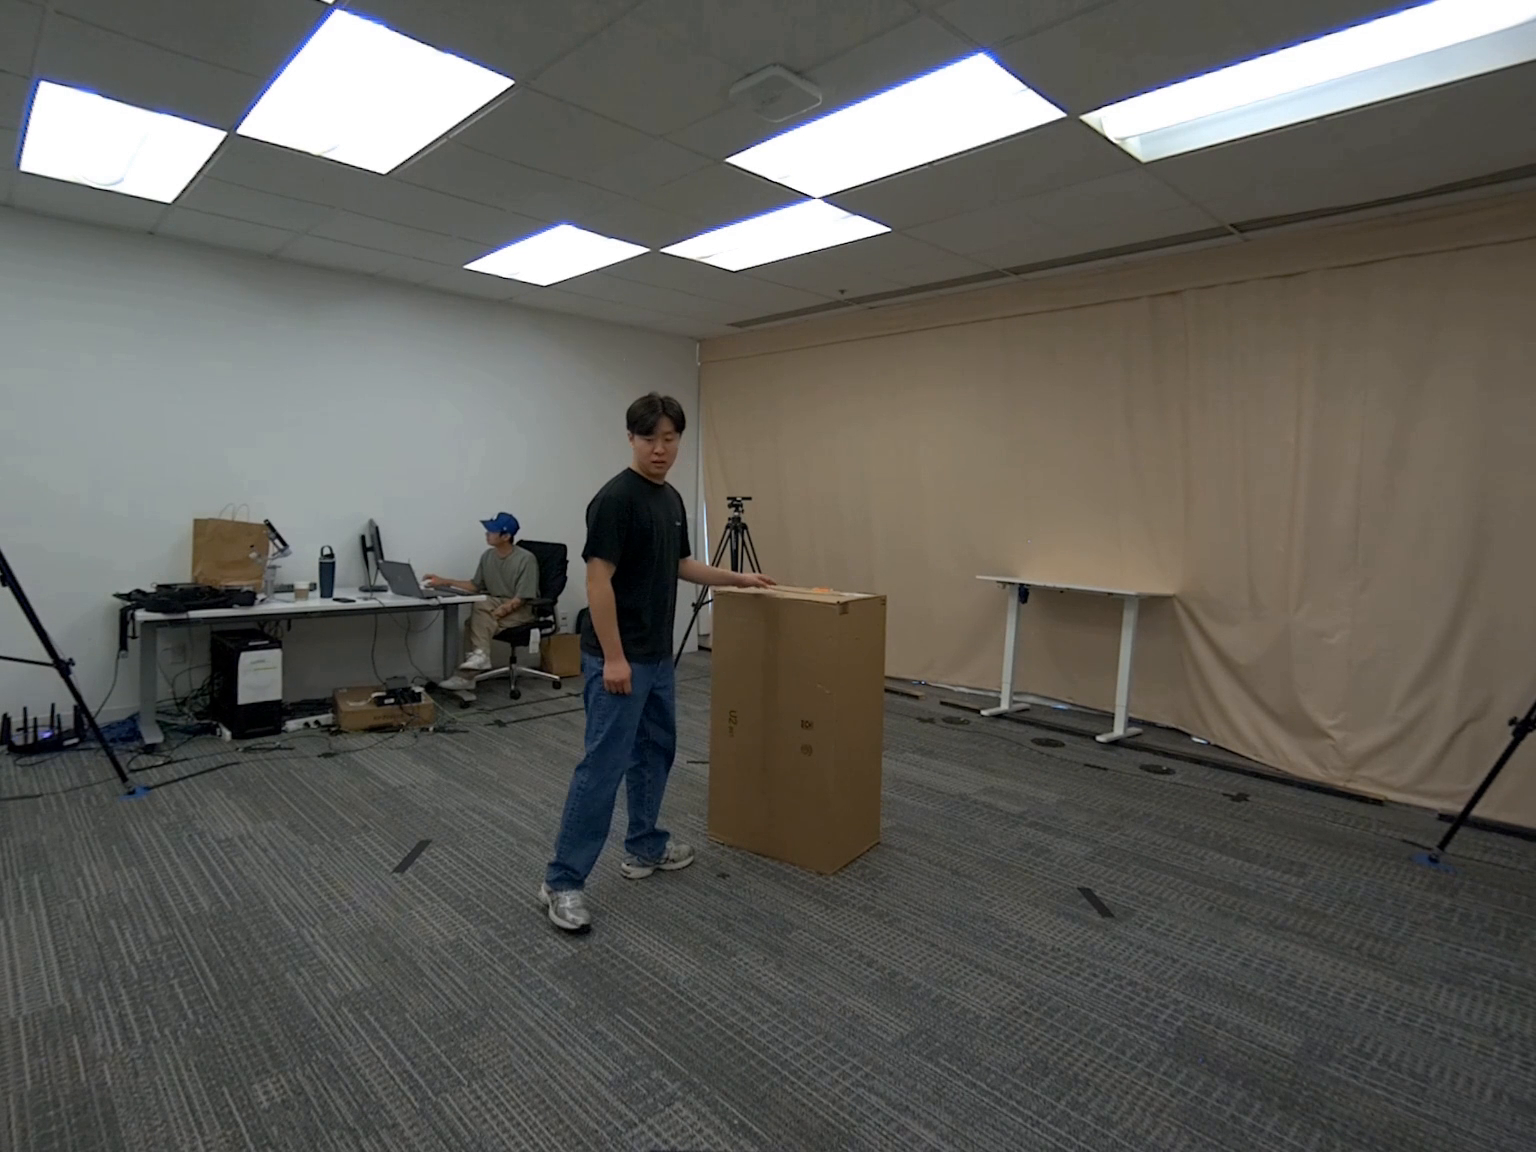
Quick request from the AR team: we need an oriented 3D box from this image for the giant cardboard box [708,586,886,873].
[{"bbox_3d":[0.117,0.571,3.432,0.598,1.025,0.437,3,3,36],"label":"giant cardboard box"}]
